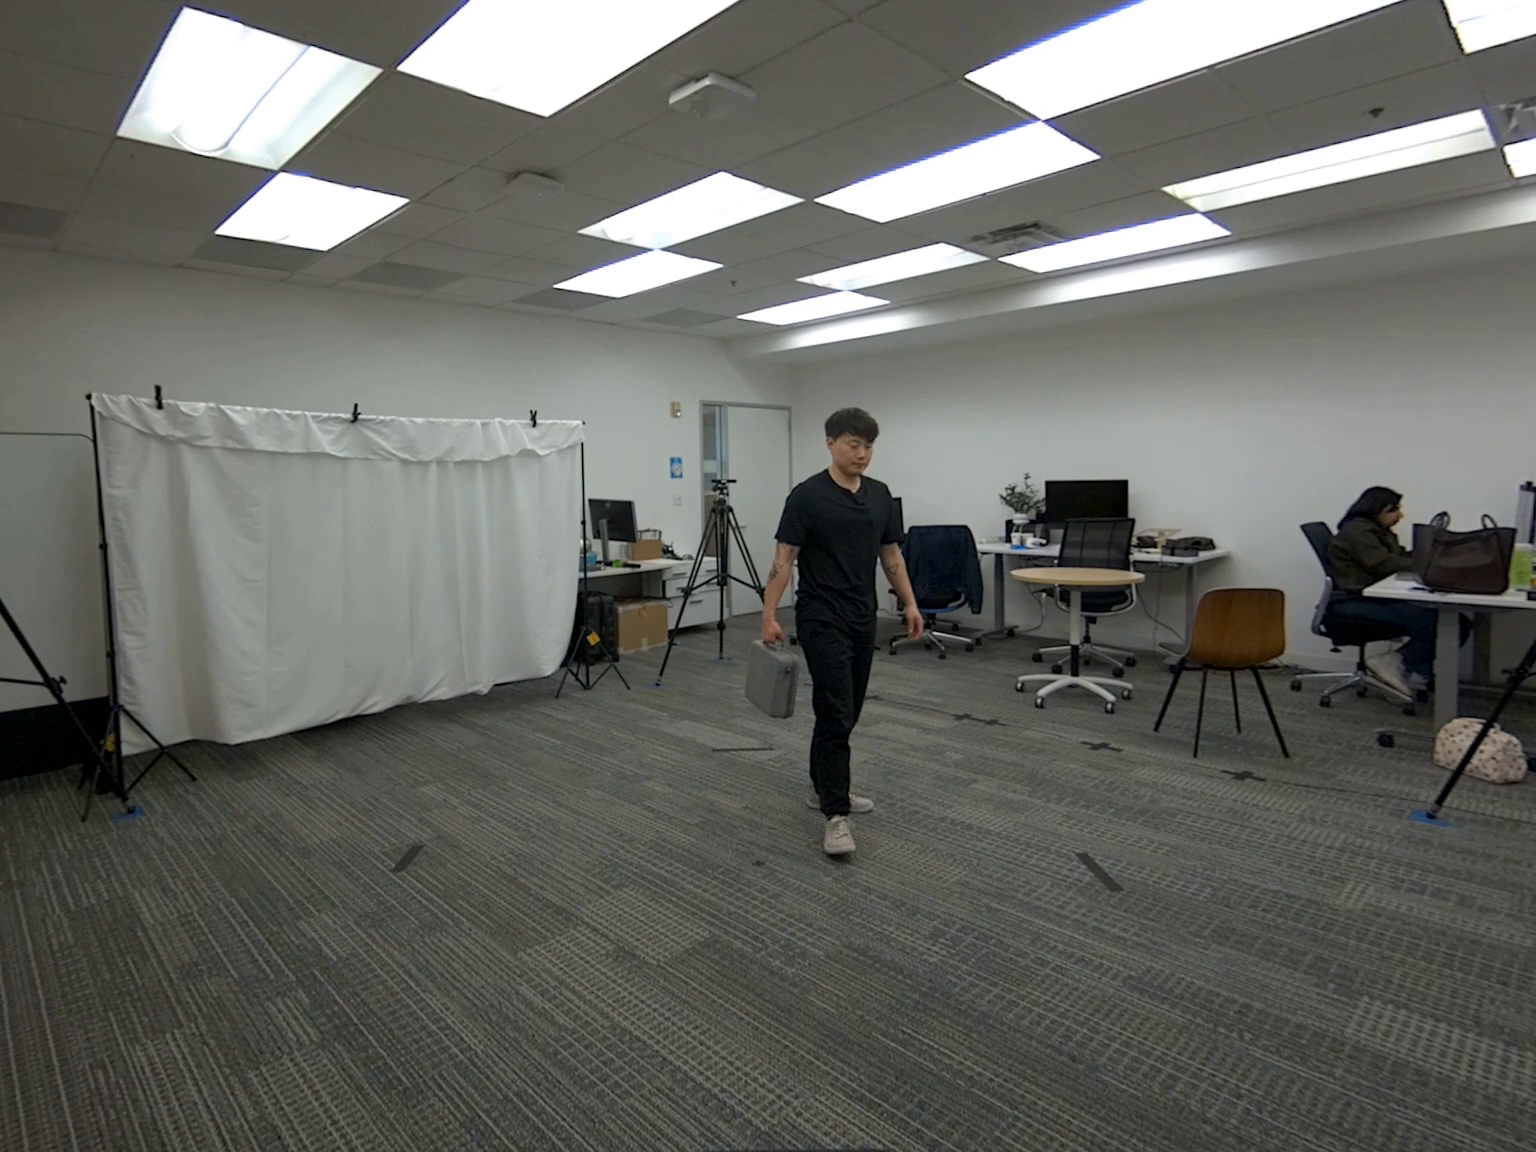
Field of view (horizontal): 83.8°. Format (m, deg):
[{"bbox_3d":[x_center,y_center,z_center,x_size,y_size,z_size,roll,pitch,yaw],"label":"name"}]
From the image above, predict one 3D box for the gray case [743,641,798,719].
[{"bbox_3d":[0.020,0.400,3.366,0.102,0.259,0.265,1,10,-26],"label":"gray case"}]
